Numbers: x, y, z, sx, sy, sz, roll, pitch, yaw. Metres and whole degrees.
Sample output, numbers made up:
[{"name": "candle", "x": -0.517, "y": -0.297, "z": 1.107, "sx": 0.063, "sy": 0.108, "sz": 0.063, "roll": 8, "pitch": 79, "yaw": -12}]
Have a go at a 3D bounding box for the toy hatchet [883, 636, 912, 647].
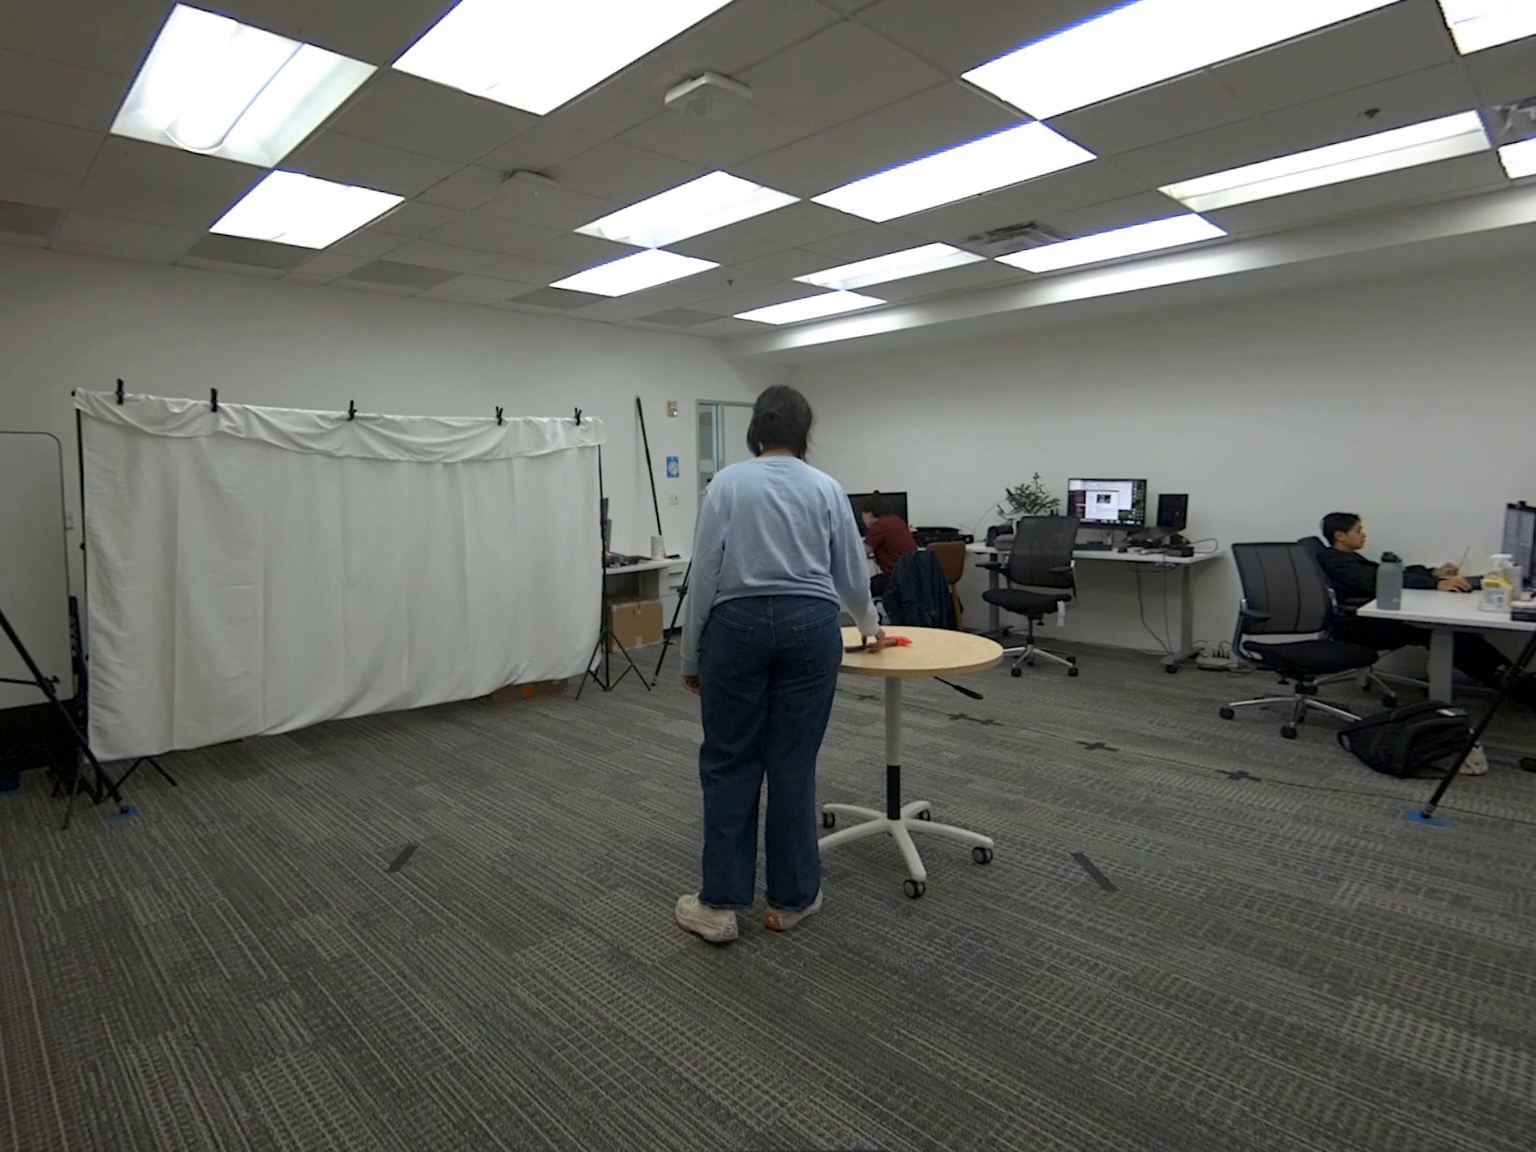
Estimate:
[{"name": "toy hatchet", "x": 0.383, "y": 0.246, "z": 3.081, "sx": 0.266, "sy": 0.029, "sz": 0.134, "roll": -5, "pitch": 8, "yaw": -19}]
